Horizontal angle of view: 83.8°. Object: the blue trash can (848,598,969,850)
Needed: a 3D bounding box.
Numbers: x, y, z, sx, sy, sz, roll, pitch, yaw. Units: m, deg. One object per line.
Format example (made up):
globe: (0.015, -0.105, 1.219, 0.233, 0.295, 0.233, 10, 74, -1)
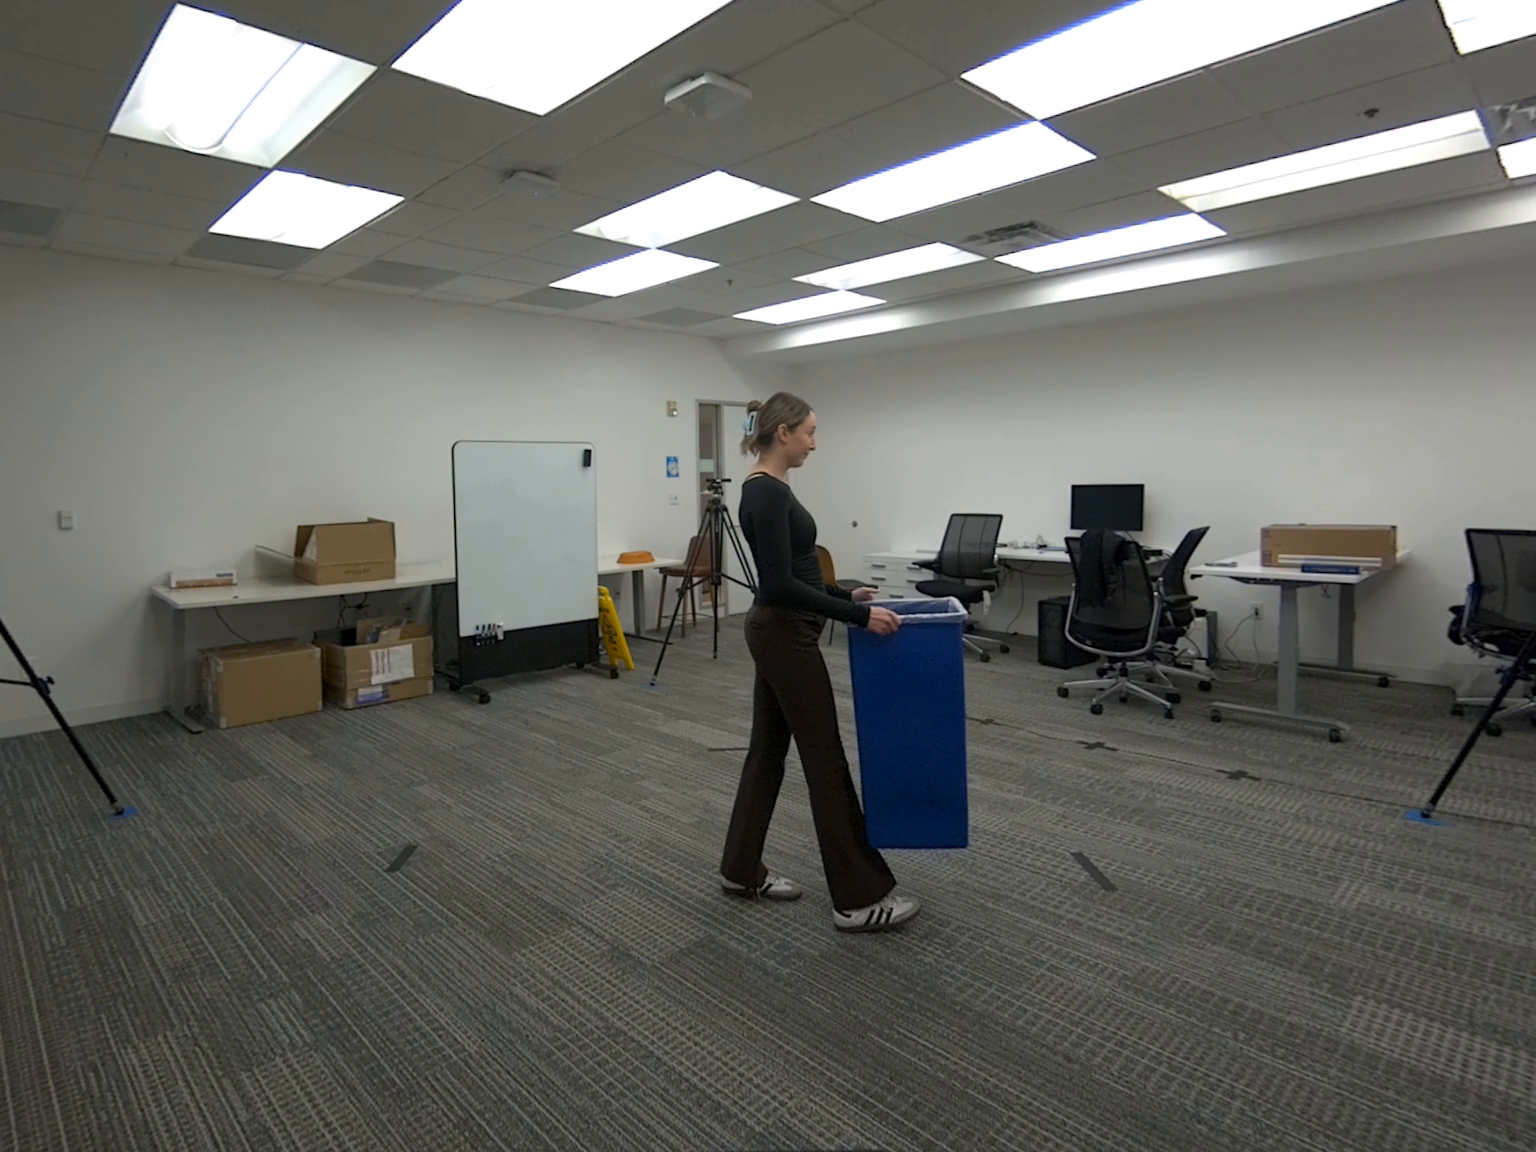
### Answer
blue trash can: (0.445, 0.455, 2.711, 0.381, 0.711, 0.372, -3, 3, 9)
